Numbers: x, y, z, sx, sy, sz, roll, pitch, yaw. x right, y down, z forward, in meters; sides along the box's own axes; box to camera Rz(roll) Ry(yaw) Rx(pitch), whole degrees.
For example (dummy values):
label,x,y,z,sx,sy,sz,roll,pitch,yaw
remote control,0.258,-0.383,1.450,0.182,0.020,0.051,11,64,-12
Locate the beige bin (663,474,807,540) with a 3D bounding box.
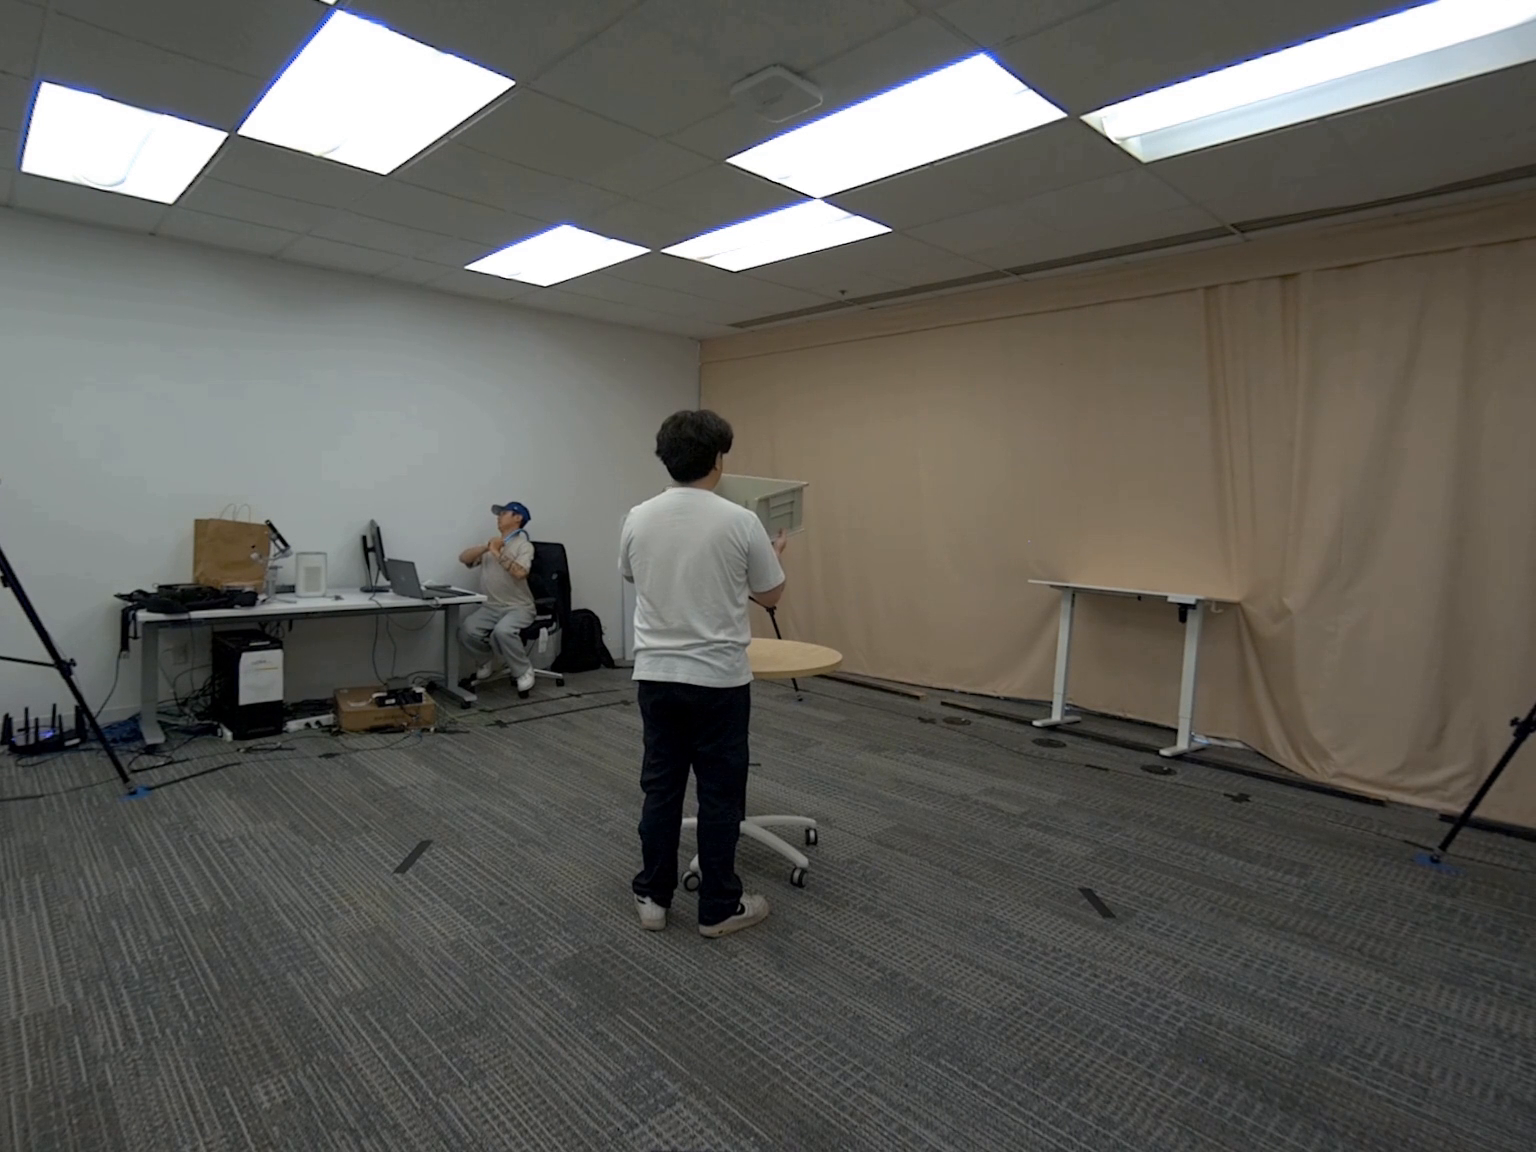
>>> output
label,x,y,z,sx,sy,sz,roll,pitch,yaw
beige bin,-0.134,-0.244,3.104,0.433,0.187,0.371,10,17,33
